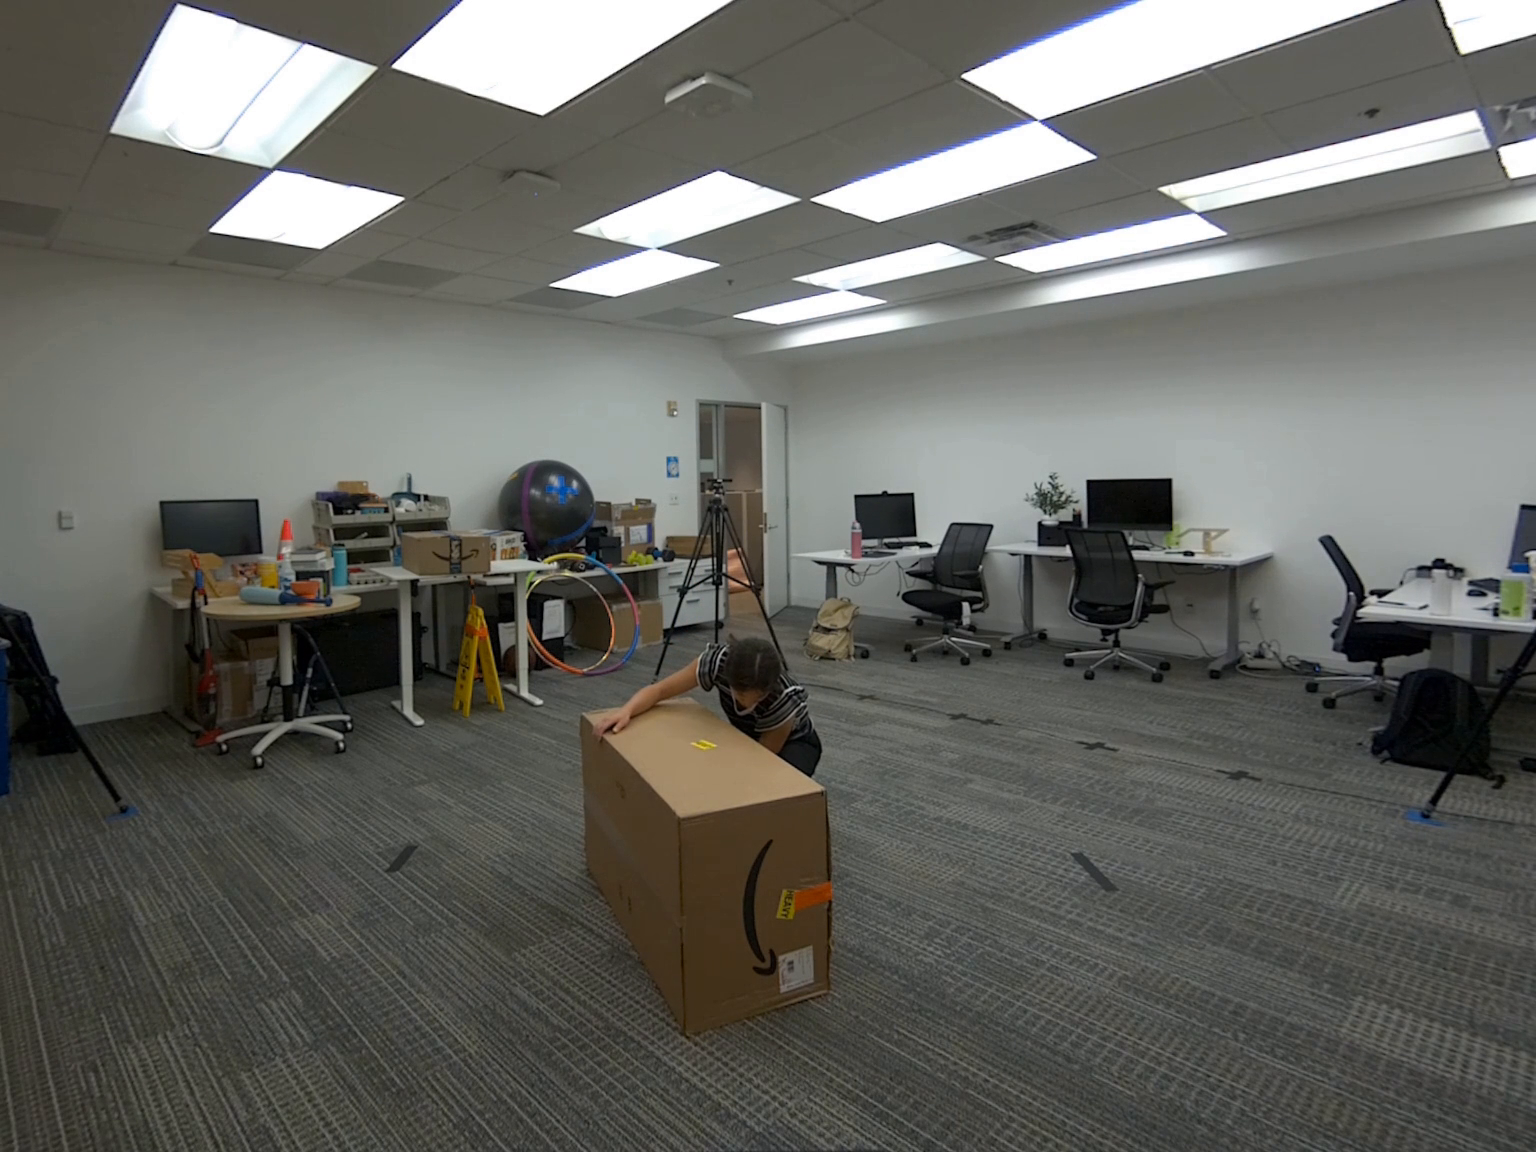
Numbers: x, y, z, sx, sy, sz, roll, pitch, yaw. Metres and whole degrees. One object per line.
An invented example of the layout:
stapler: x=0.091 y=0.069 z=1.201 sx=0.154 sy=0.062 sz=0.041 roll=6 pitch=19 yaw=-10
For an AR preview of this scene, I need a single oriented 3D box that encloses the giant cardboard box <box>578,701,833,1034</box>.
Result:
giant cardboard box: x=-0.250 y=0.810 z=2.676 sx=0.418 sy=0.575 sz=1.051 roll=-4 pitch=6 yaw=-24
